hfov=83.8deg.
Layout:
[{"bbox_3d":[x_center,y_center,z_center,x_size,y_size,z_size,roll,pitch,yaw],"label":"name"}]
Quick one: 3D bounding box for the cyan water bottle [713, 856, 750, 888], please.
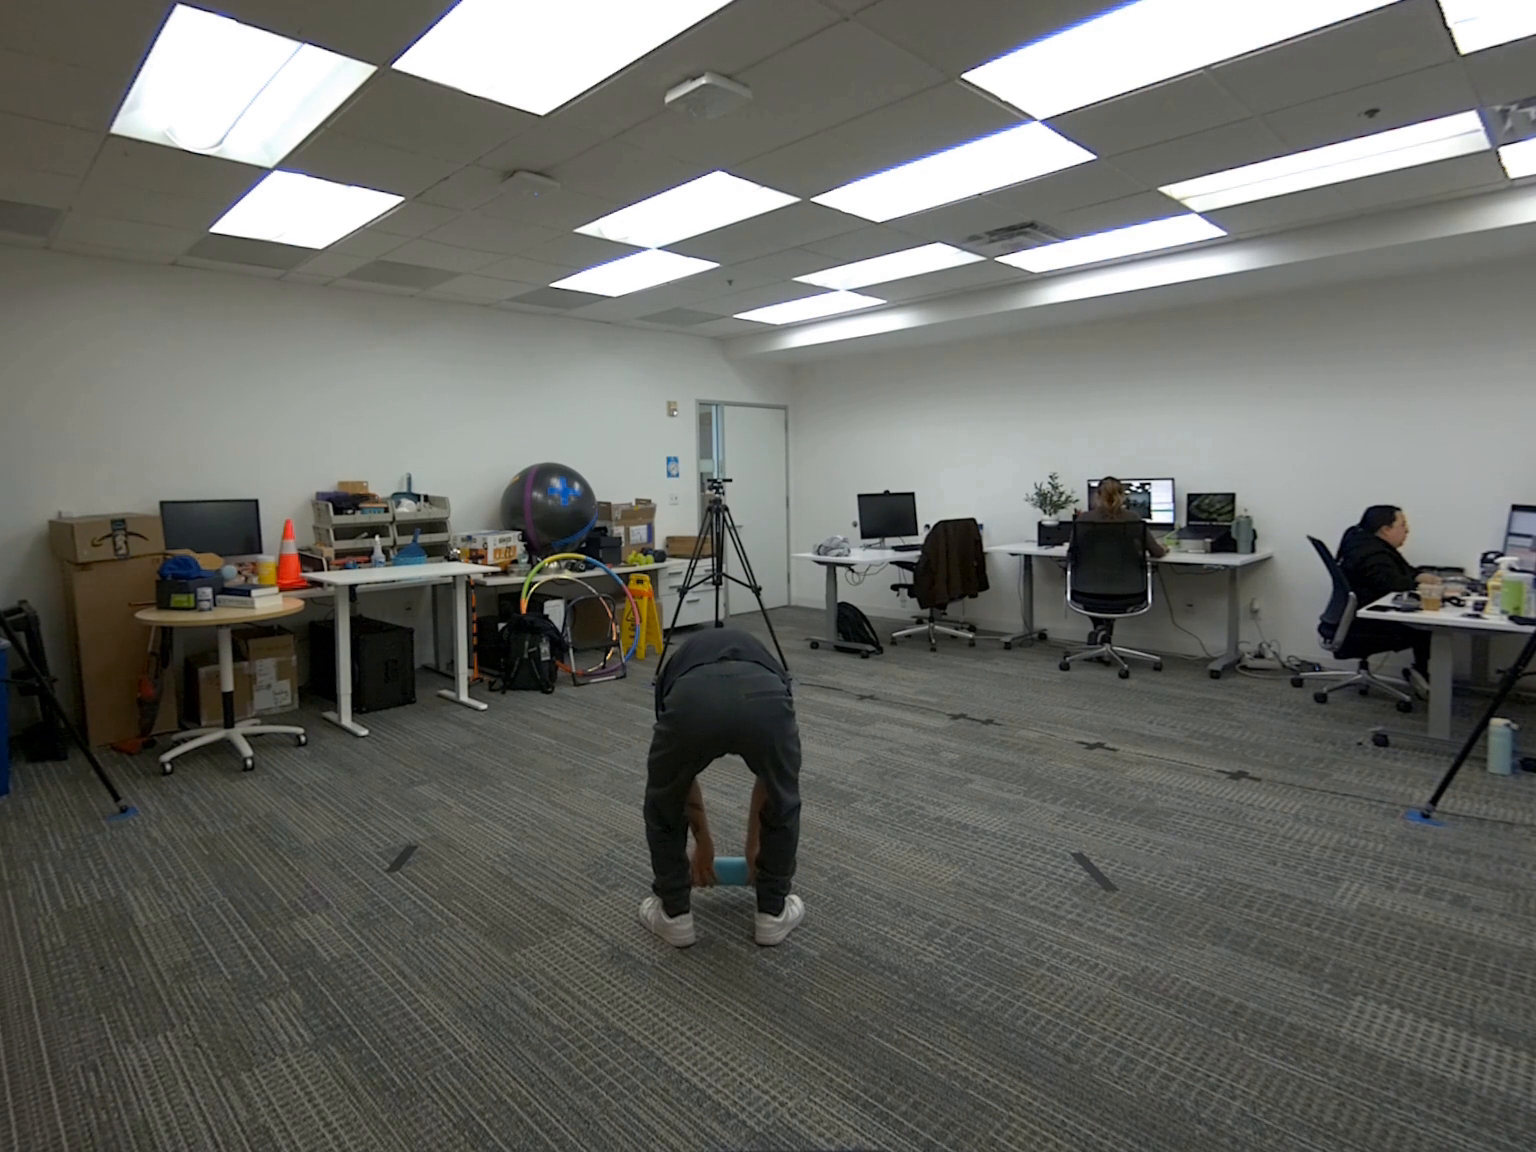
[{"bbox_3d":[-0.090,0.980,2.821,0.283,0.092,0.093,-1,5,0],"label":"cyan water bottle"}]
